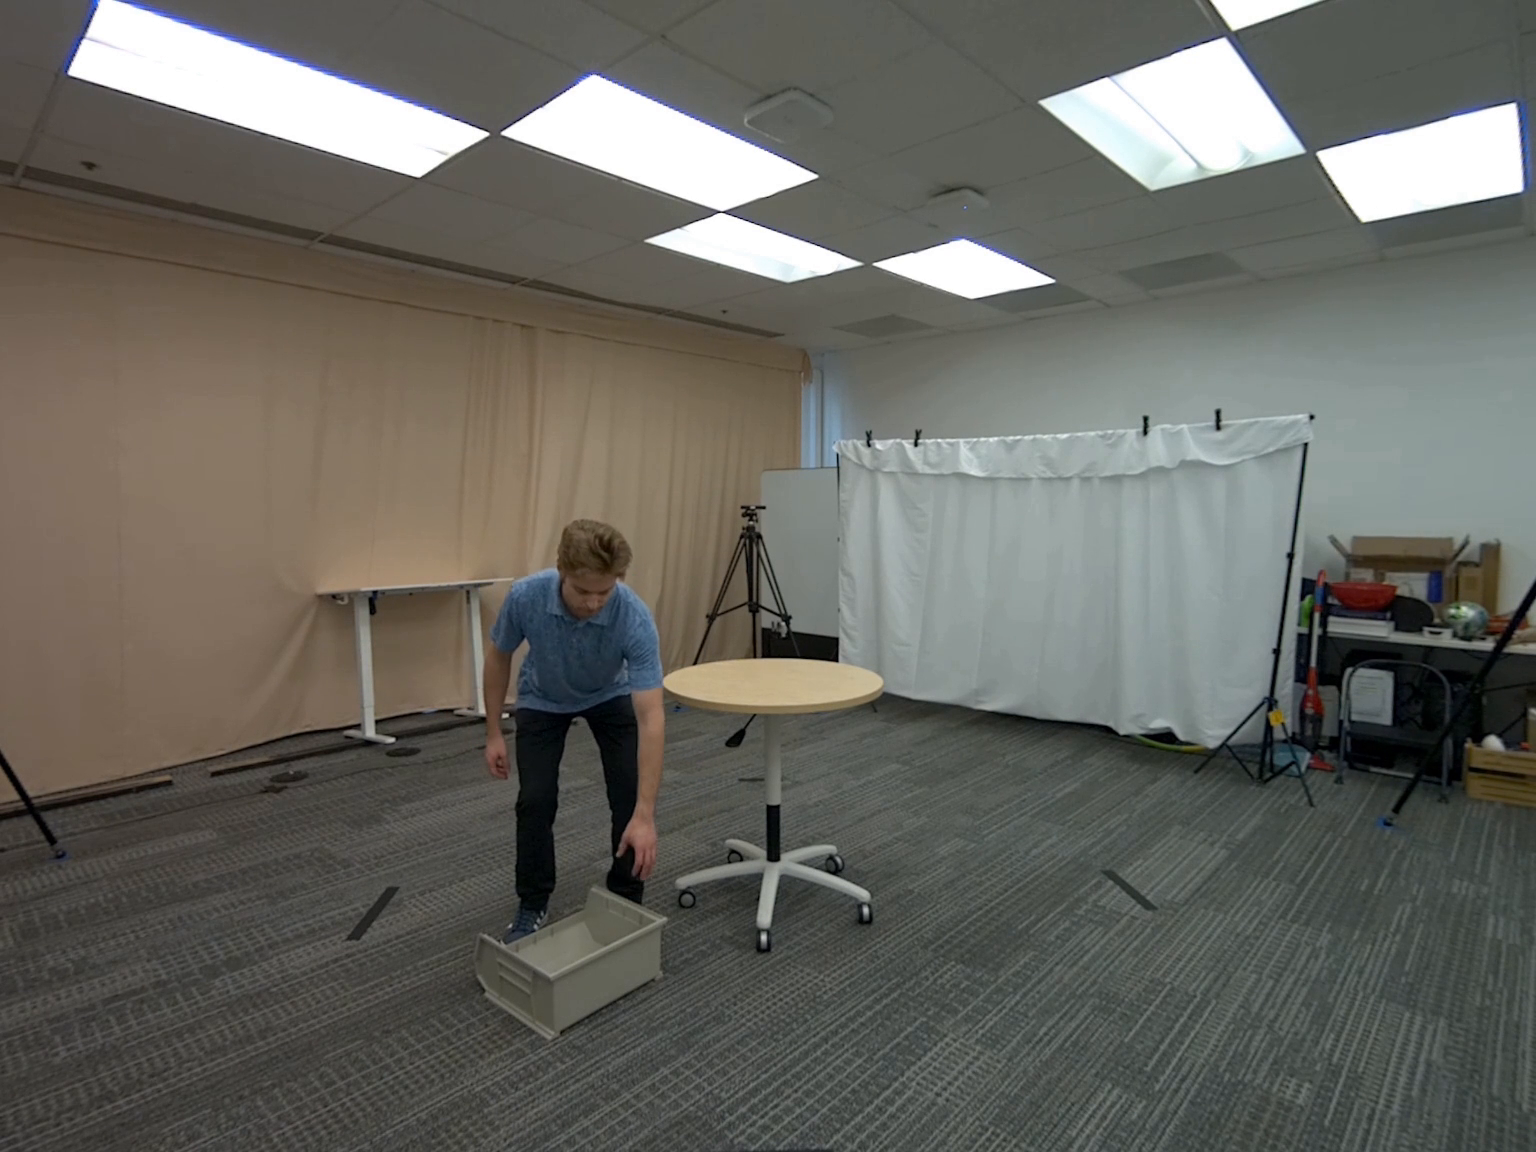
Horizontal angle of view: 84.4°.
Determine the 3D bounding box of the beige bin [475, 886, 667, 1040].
[{"bbox_3d":[-0.572,1.106,2.453,0.390,0.188,0.409,4,6,41],"label":"beige bin"}]
